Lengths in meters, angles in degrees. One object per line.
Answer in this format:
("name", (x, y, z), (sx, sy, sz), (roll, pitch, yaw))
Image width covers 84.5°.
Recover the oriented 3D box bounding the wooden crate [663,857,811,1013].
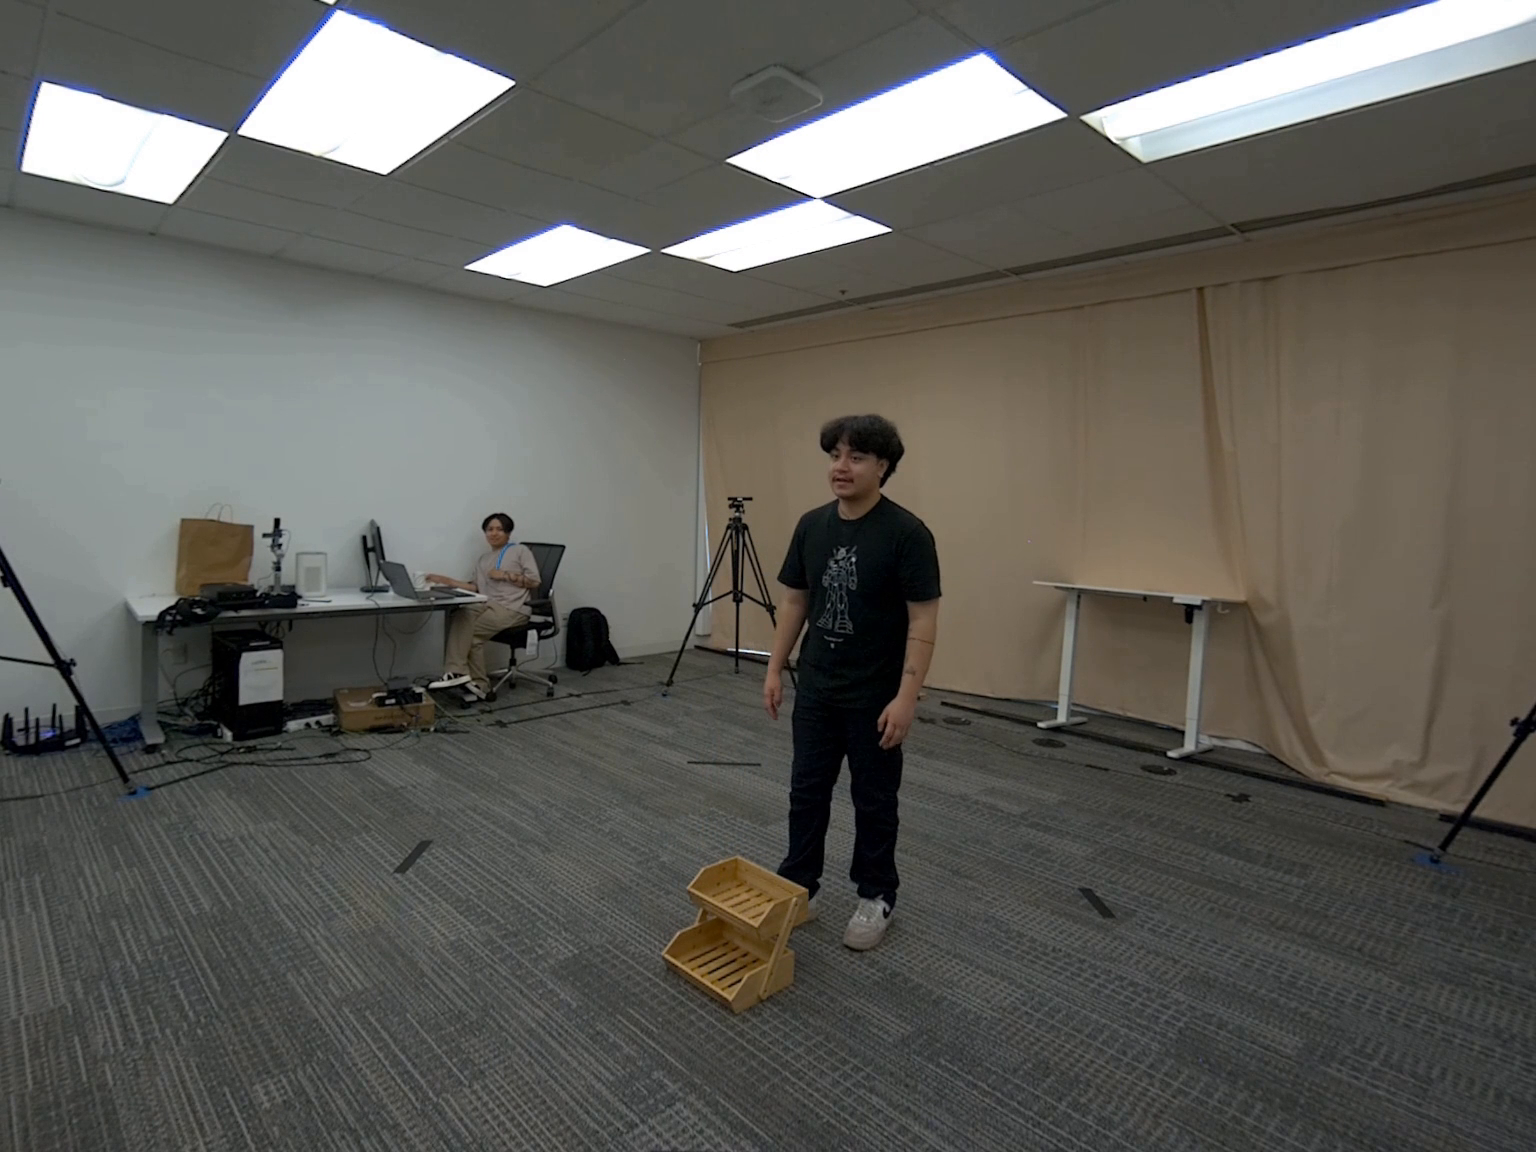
("wooden crate", (-0.109, 1.034, 2.457), (0.295, 0.273, 0.333), (-1, 5, -45))
